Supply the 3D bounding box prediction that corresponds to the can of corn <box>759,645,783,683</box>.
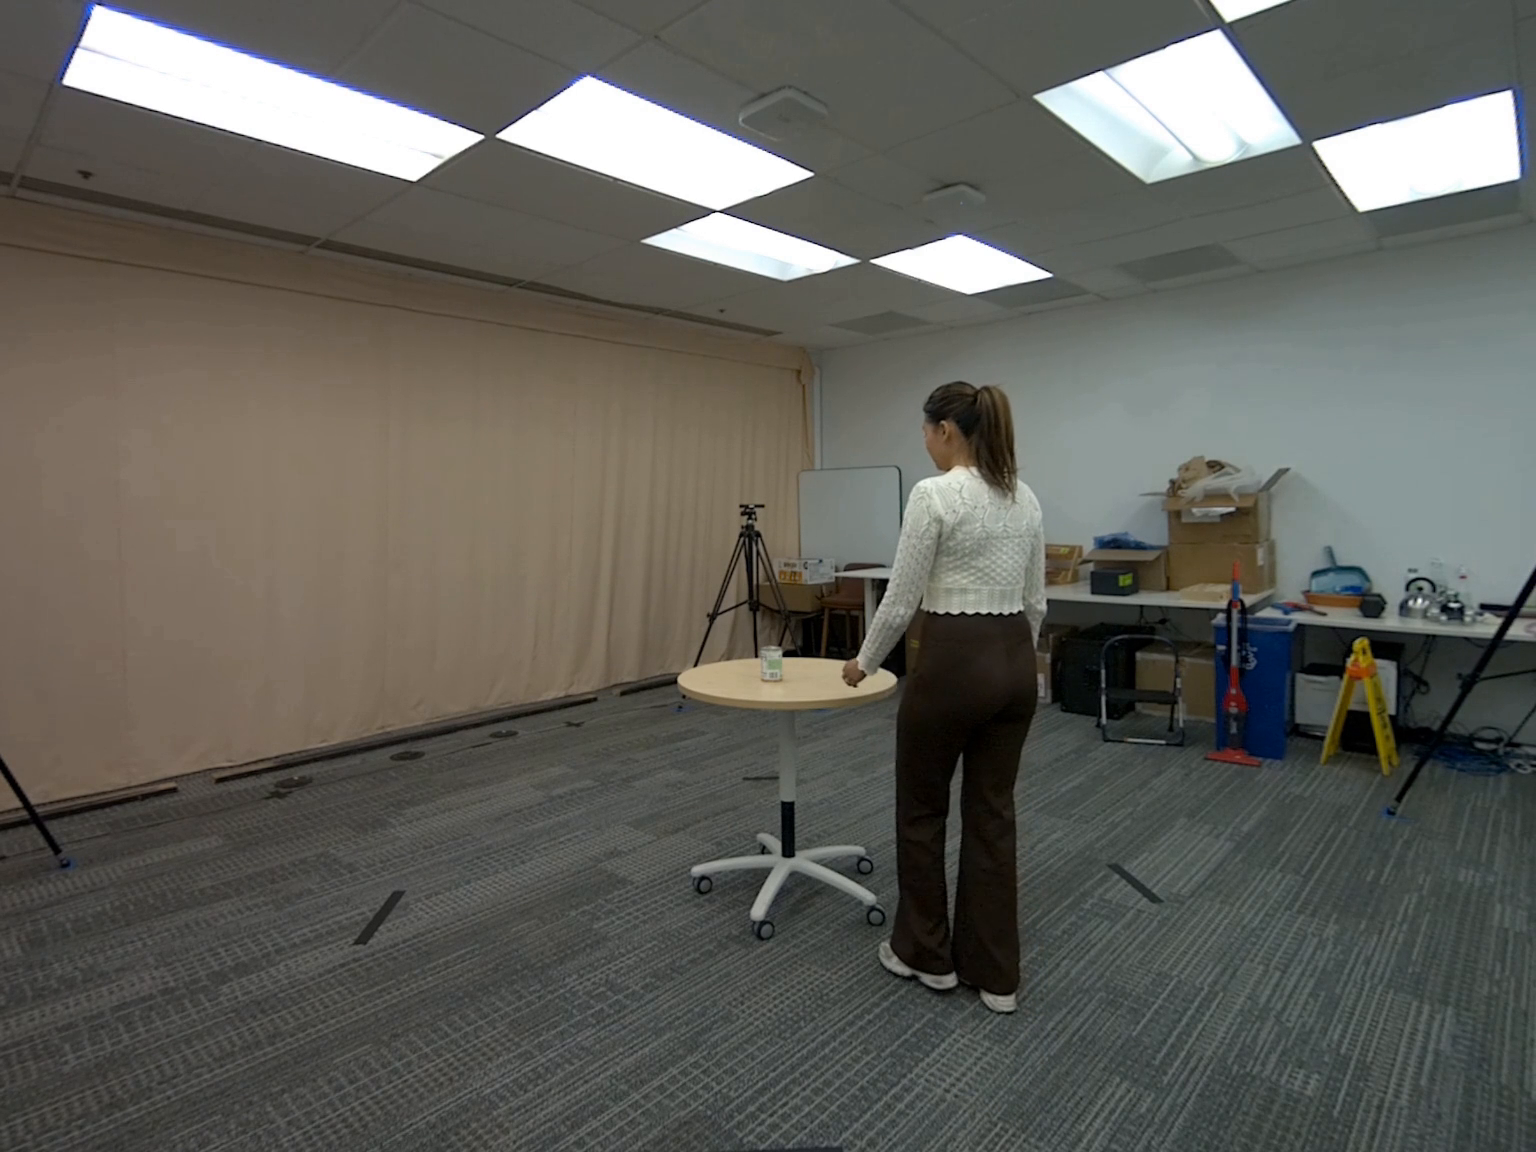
[{"bbox_3d":[0.019,0.307,2.905,0.074,0.111,0.074,-3,4,-2],"label":"can of corn"}]
